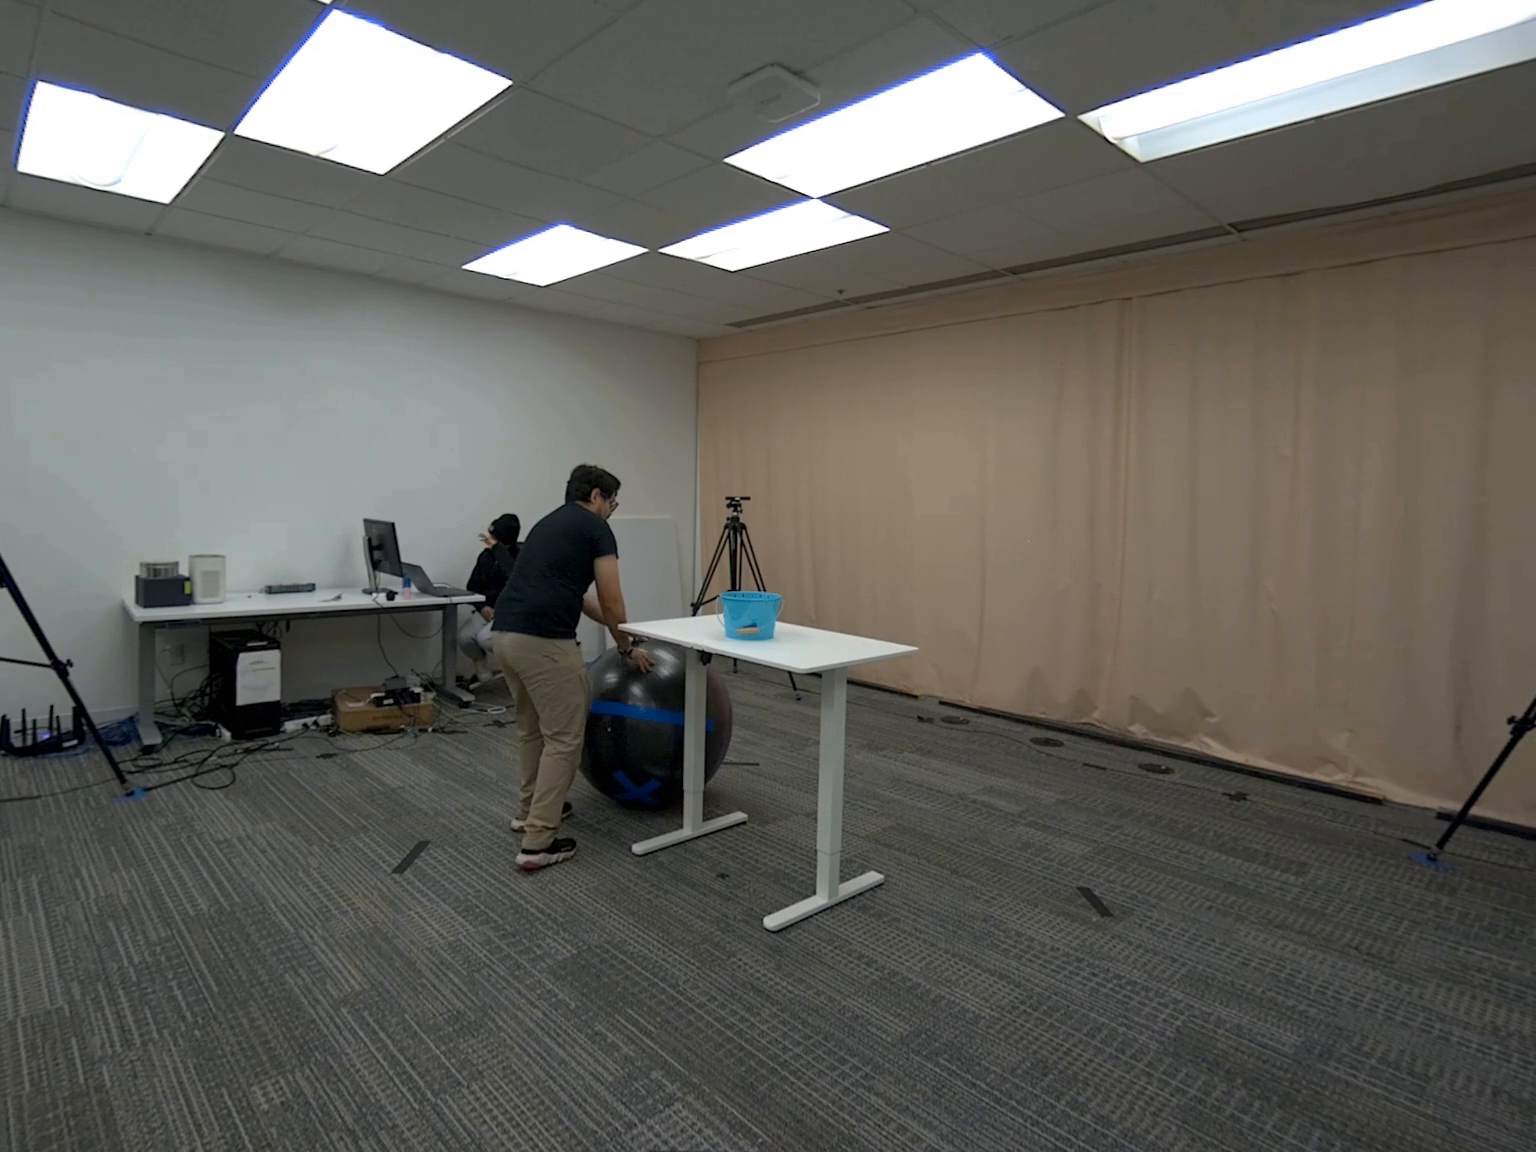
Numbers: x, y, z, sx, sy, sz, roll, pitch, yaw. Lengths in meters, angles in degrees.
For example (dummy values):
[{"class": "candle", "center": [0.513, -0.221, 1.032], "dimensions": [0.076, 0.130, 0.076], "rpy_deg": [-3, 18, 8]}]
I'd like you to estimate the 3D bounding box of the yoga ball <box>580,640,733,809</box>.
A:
[{"class": "yoga ball", "center": [-0.553, 0.667, 3.866], "dimensions": [0.757, 0.756, 0.761], "rpy_deg": [1, 4, -1]}]
